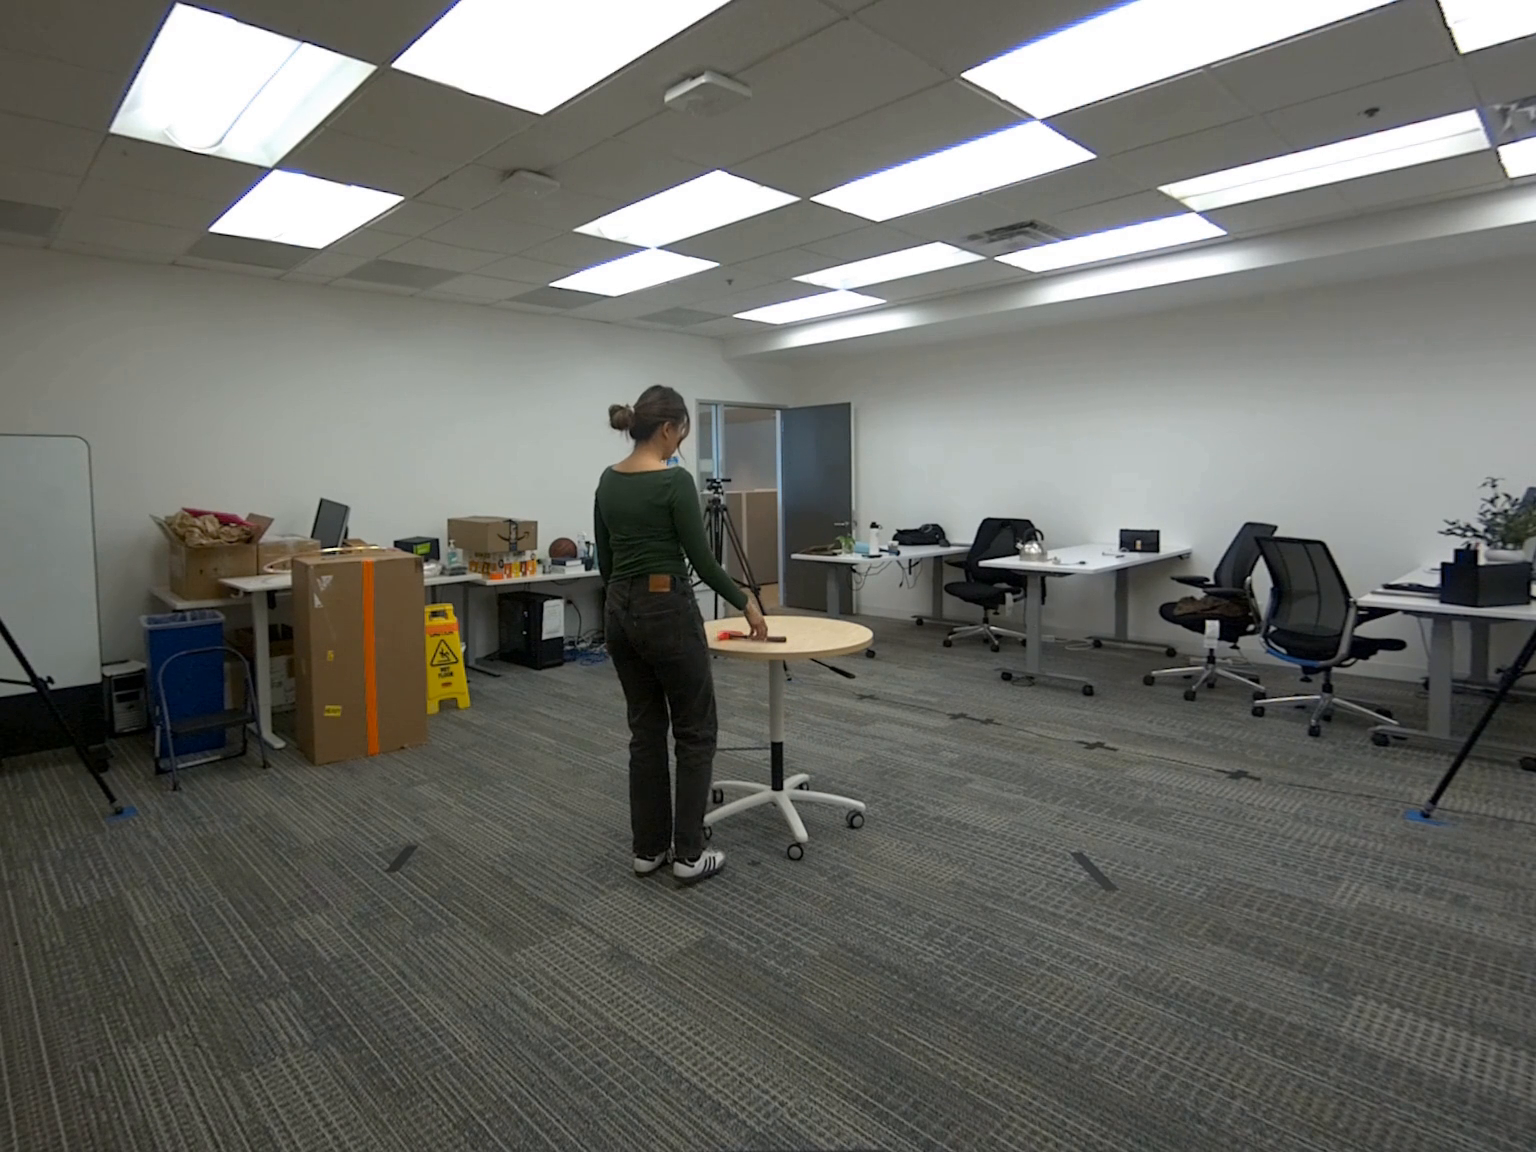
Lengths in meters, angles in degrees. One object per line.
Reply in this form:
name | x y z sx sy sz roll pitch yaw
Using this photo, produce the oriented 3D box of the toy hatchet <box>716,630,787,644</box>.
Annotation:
toy hatchet | -0.060 0.232 3.276 0.272 0.029 0.130 2 3 7
